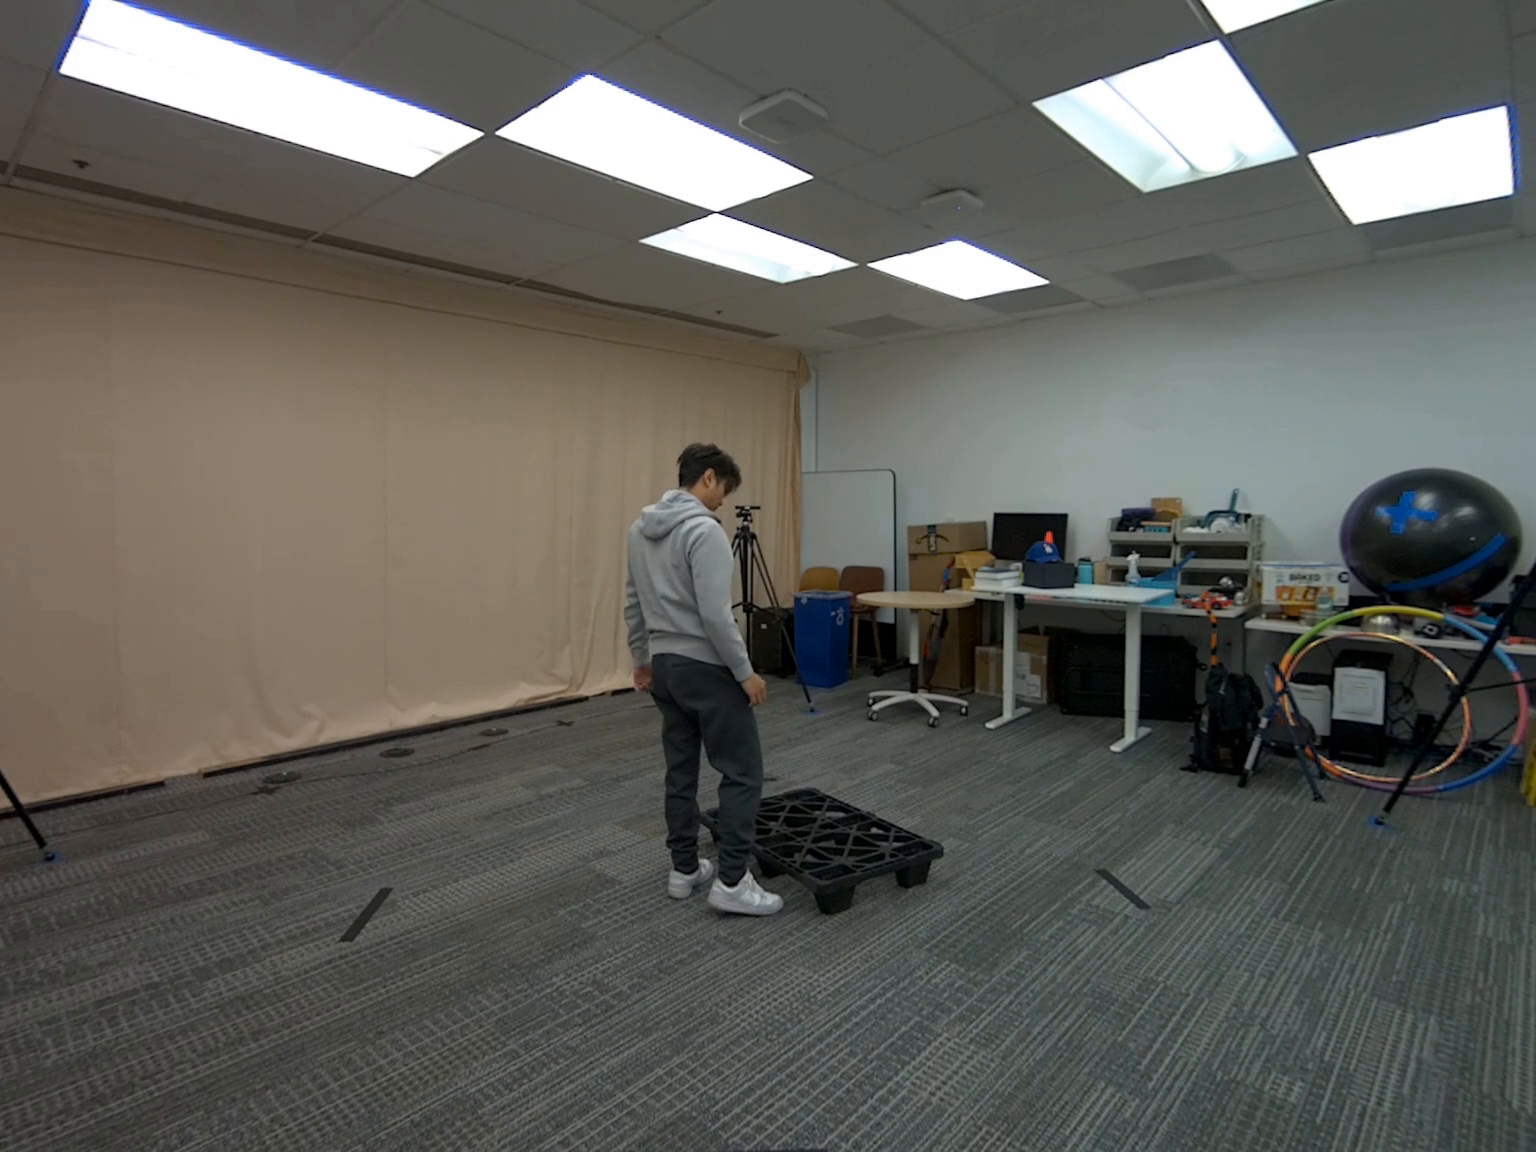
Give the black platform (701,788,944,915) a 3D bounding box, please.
[{"bbox_3d":[0.184,1.053,3.279,0.588,0.143,0.831,-4,6,-34],"label":"black platform"}]
